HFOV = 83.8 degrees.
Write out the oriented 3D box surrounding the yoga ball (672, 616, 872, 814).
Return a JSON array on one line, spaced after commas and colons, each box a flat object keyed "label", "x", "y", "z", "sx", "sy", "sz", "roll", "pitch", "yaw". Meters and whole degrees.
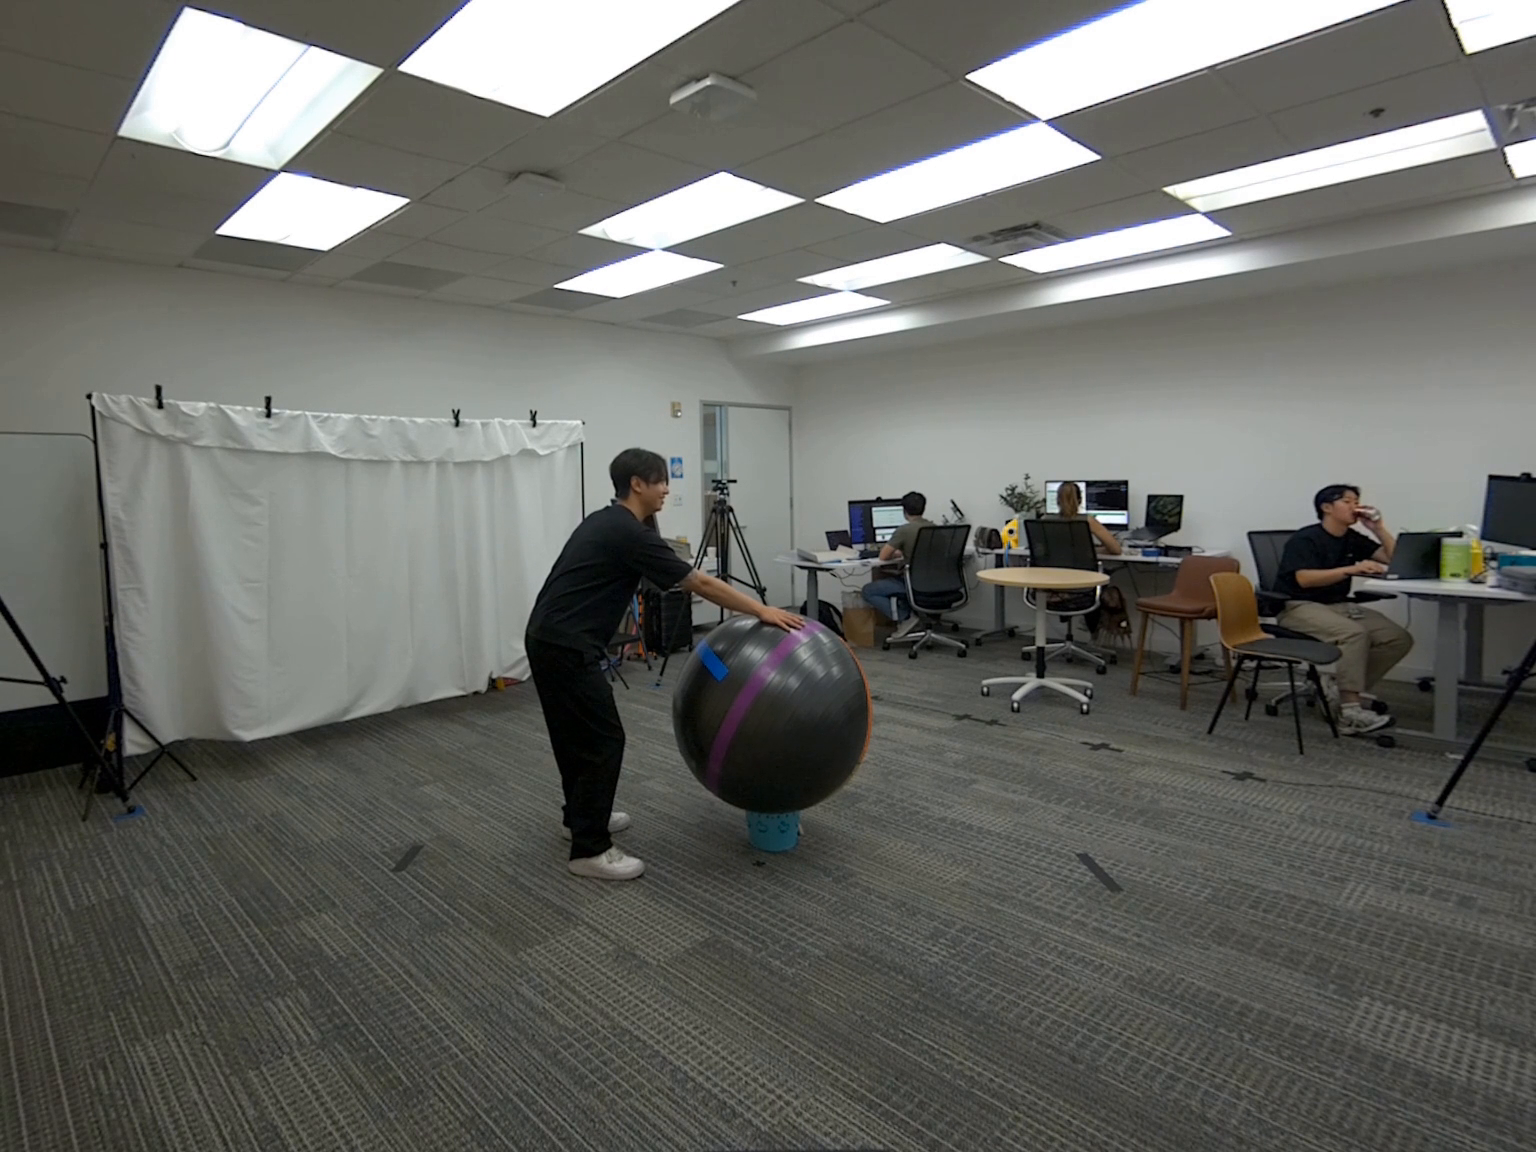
[{"label": "yoga ball", "x": 0.024, "y": 0.519, "z": 3.278, "sx": 0.757, "sy": 0.755, "sz": 0.762, "roll": -1, "pitch": 5, "yaw": -2}]
